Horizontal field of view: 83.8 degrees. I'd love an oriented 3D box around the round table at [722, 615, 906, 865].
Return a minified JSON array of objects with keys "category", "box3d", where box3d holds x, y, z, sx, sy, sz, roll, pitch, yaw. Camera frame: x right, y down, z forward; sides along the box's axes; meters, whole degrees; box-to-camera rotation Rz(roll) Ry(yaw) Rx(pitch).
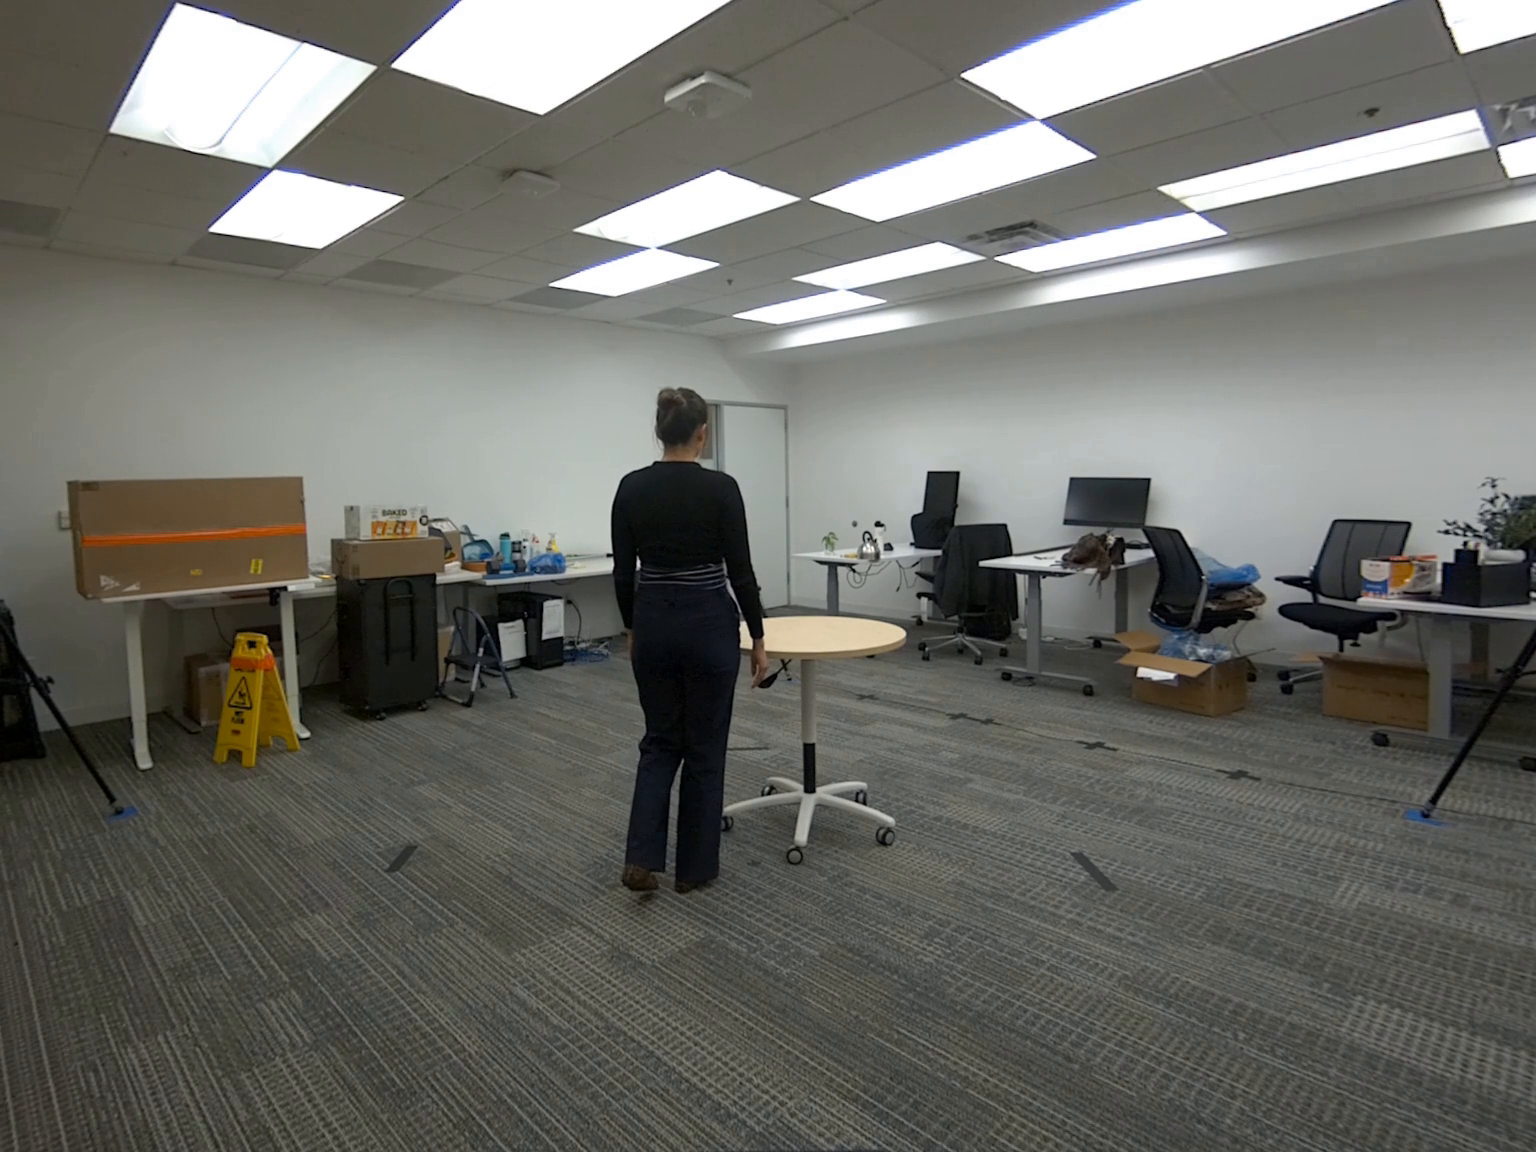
[{"category":"round table","box3d":[0.166,0.618,3.411,0.763,0.791,0.768,-1,5,-2]}]
